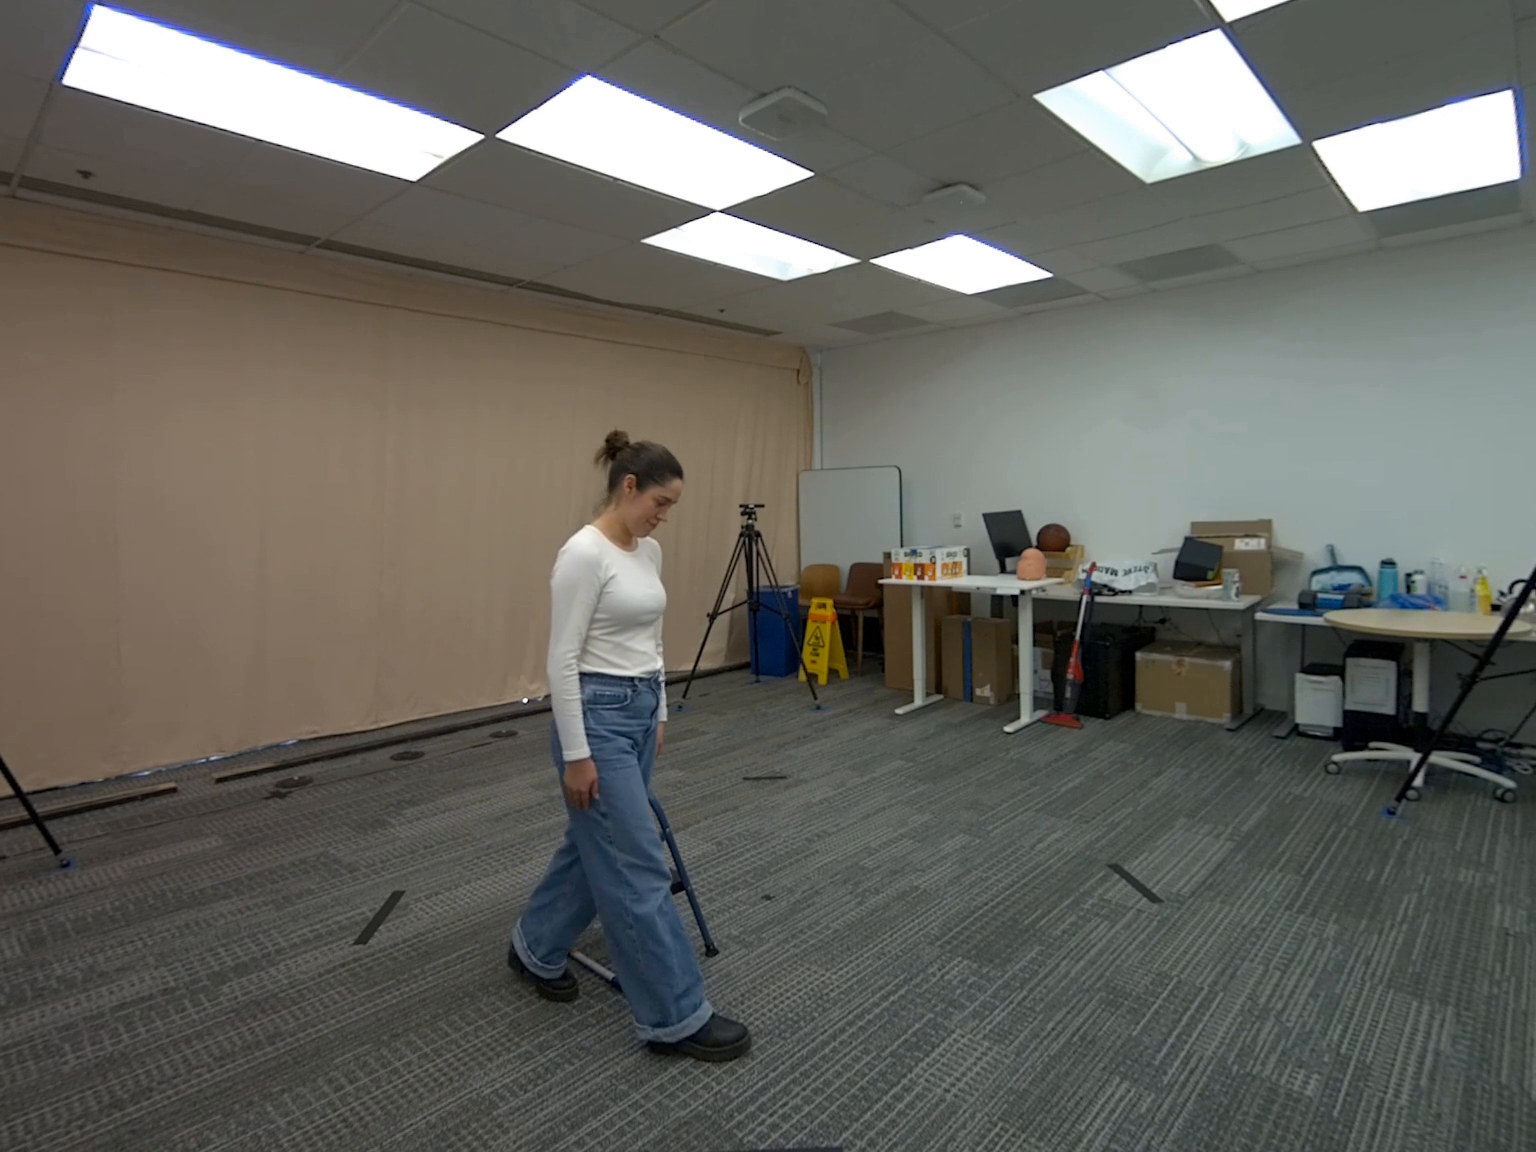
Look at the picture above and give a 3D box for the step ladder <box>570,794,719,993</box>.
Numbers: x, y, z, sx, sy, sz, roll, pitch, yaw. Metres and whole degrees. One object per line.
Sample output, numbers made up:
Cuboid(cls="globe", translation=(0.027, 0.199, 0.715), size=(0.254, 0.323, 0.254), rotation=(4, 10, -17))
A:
Cuboid(cls="step ladder", translation=(-0.428, 0.876, 2.635), size=(0.445, 0.605, 0.339), rotation=(2, 5, 43))
